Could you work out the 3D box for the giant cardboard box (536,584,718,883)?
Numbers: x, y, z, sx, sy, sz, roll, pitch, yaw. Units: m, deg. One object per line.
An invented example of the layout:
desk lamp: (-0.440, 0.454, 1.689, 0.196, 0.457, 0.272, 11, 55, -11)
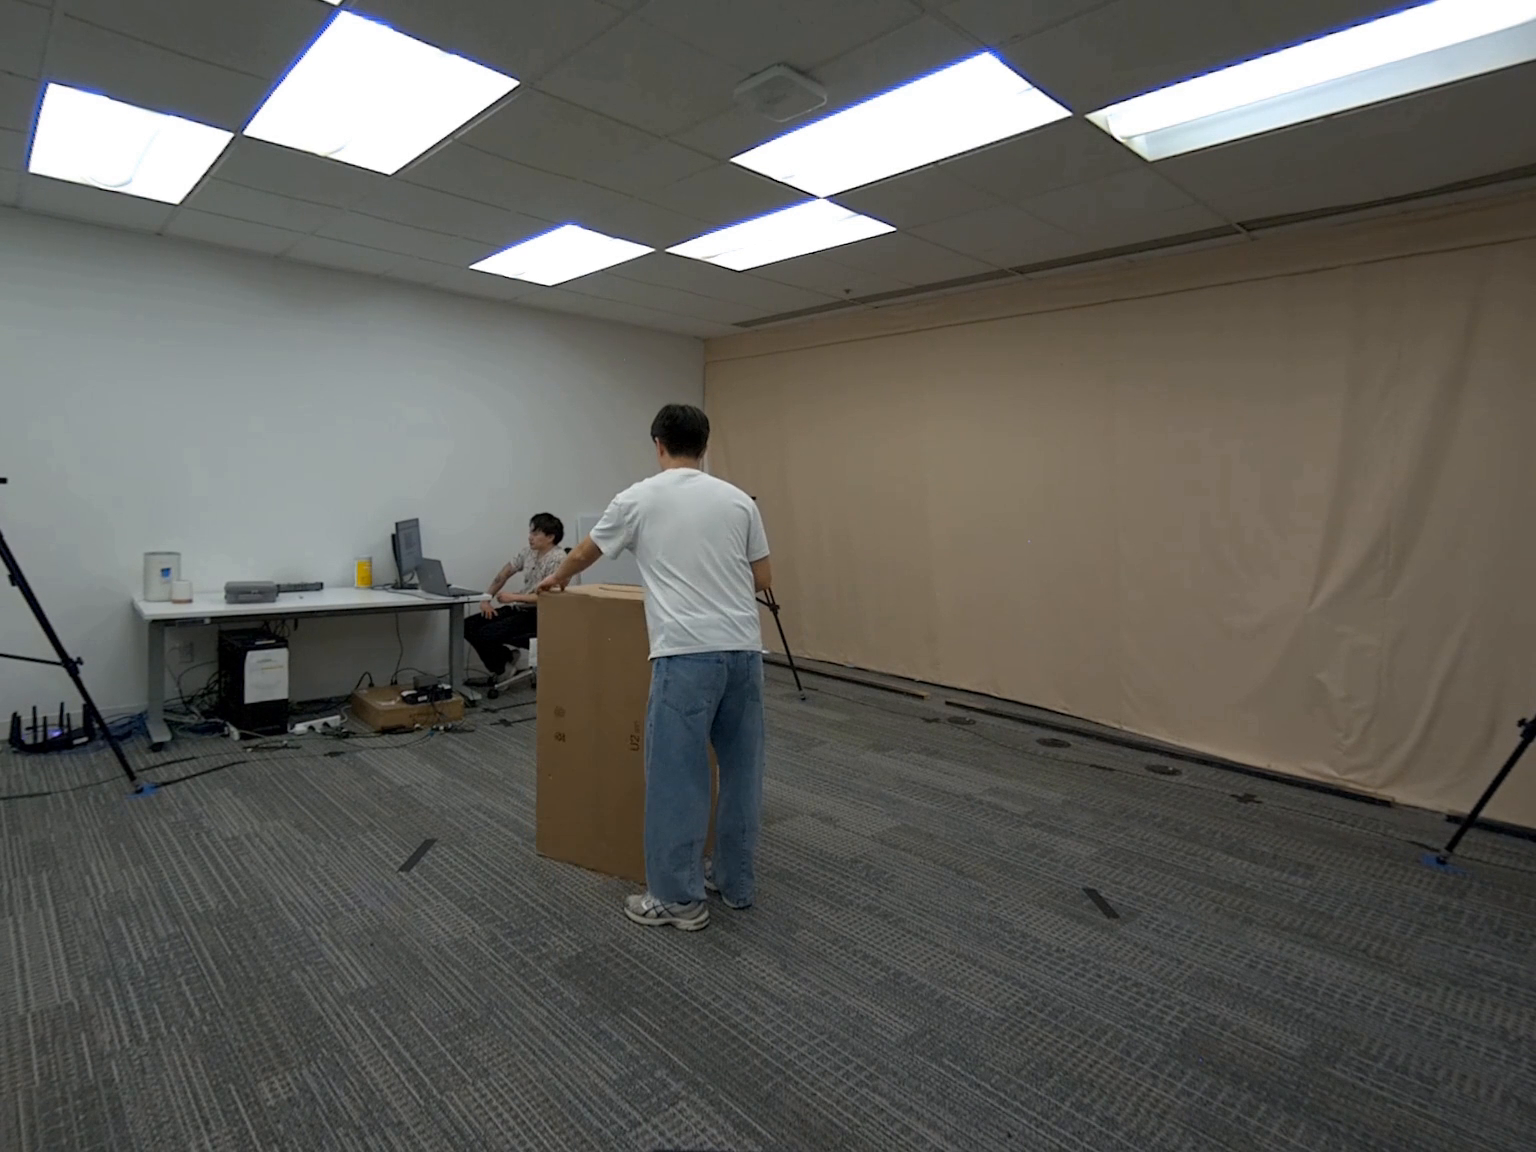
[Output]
giant cardboard box: (-0.547, 0.570, 3.285, 0.589, 1.023, 0.418, 3, 4, 27)
